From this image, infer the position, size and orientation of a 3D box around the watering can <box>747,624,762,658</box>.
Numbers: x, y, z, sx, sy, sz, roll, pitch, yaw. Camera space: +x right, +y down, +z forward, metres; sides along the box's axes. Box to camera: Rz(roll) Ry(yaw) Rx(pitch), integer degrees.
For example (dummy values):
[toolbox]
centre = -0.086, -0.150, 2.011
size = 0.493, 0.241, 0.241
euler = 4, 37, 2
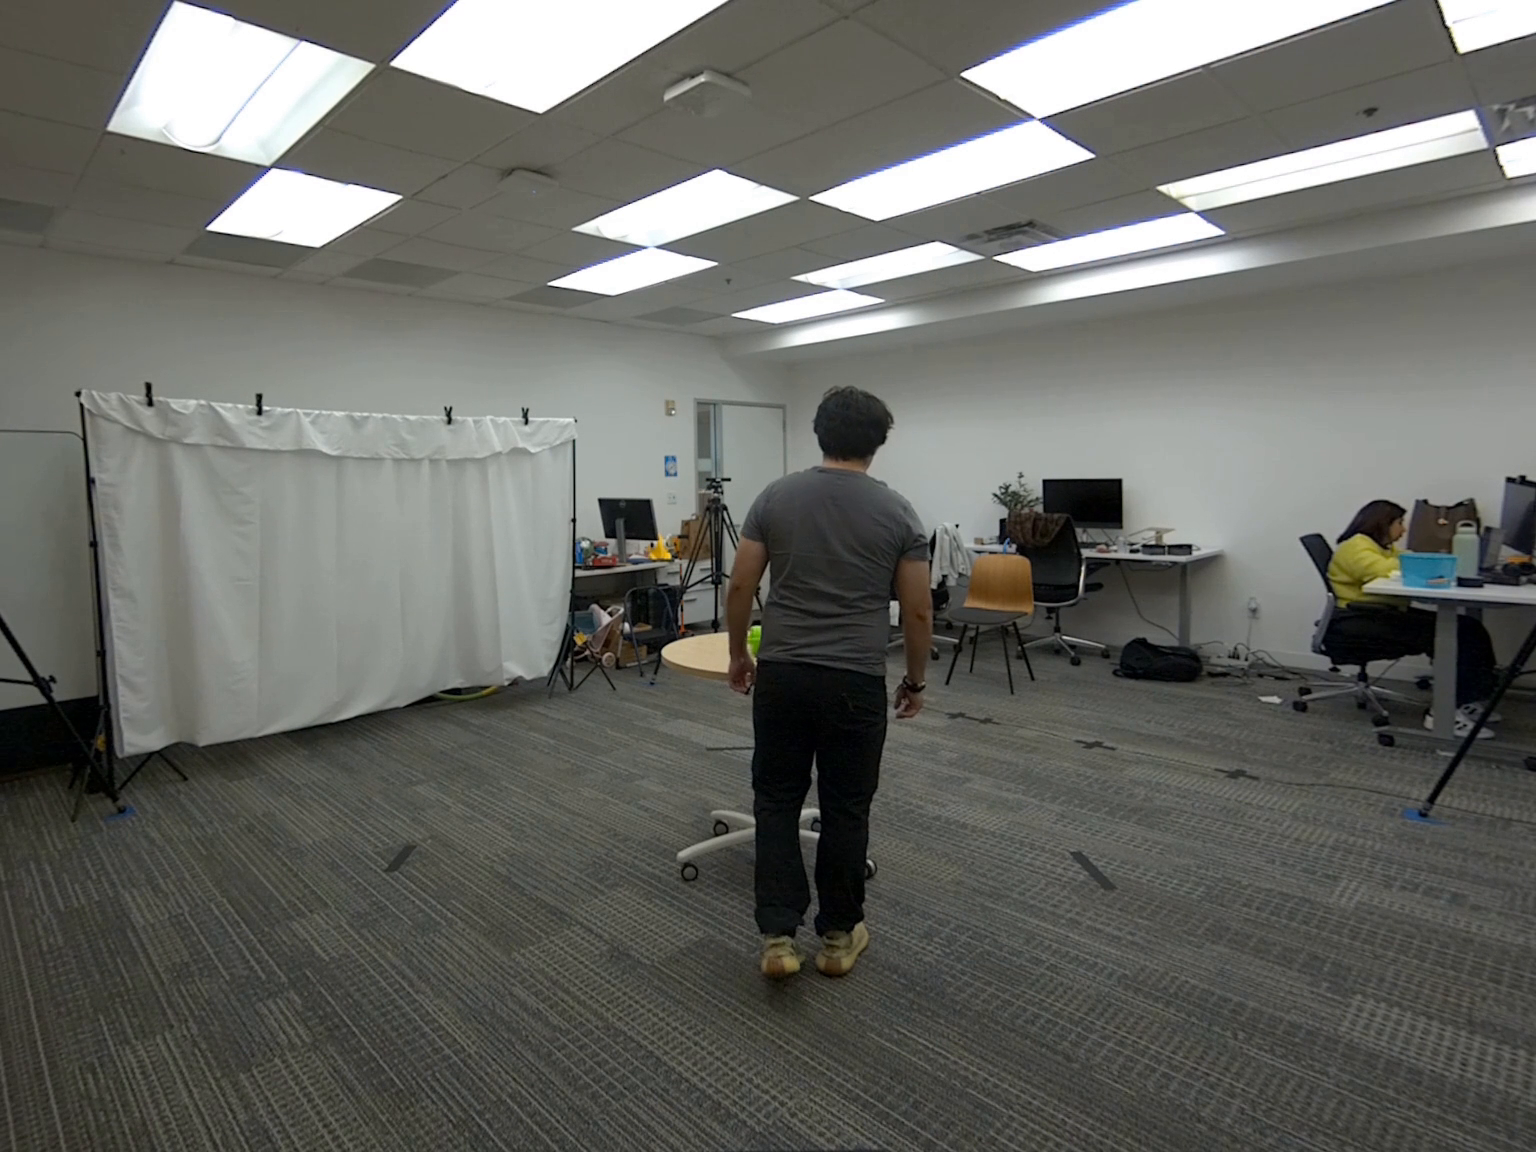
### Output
[watering can]
centre = -0.005, 0.214, 3.039
size = 0.176, 0.097, 0.282
euler = -1, 11, -7
